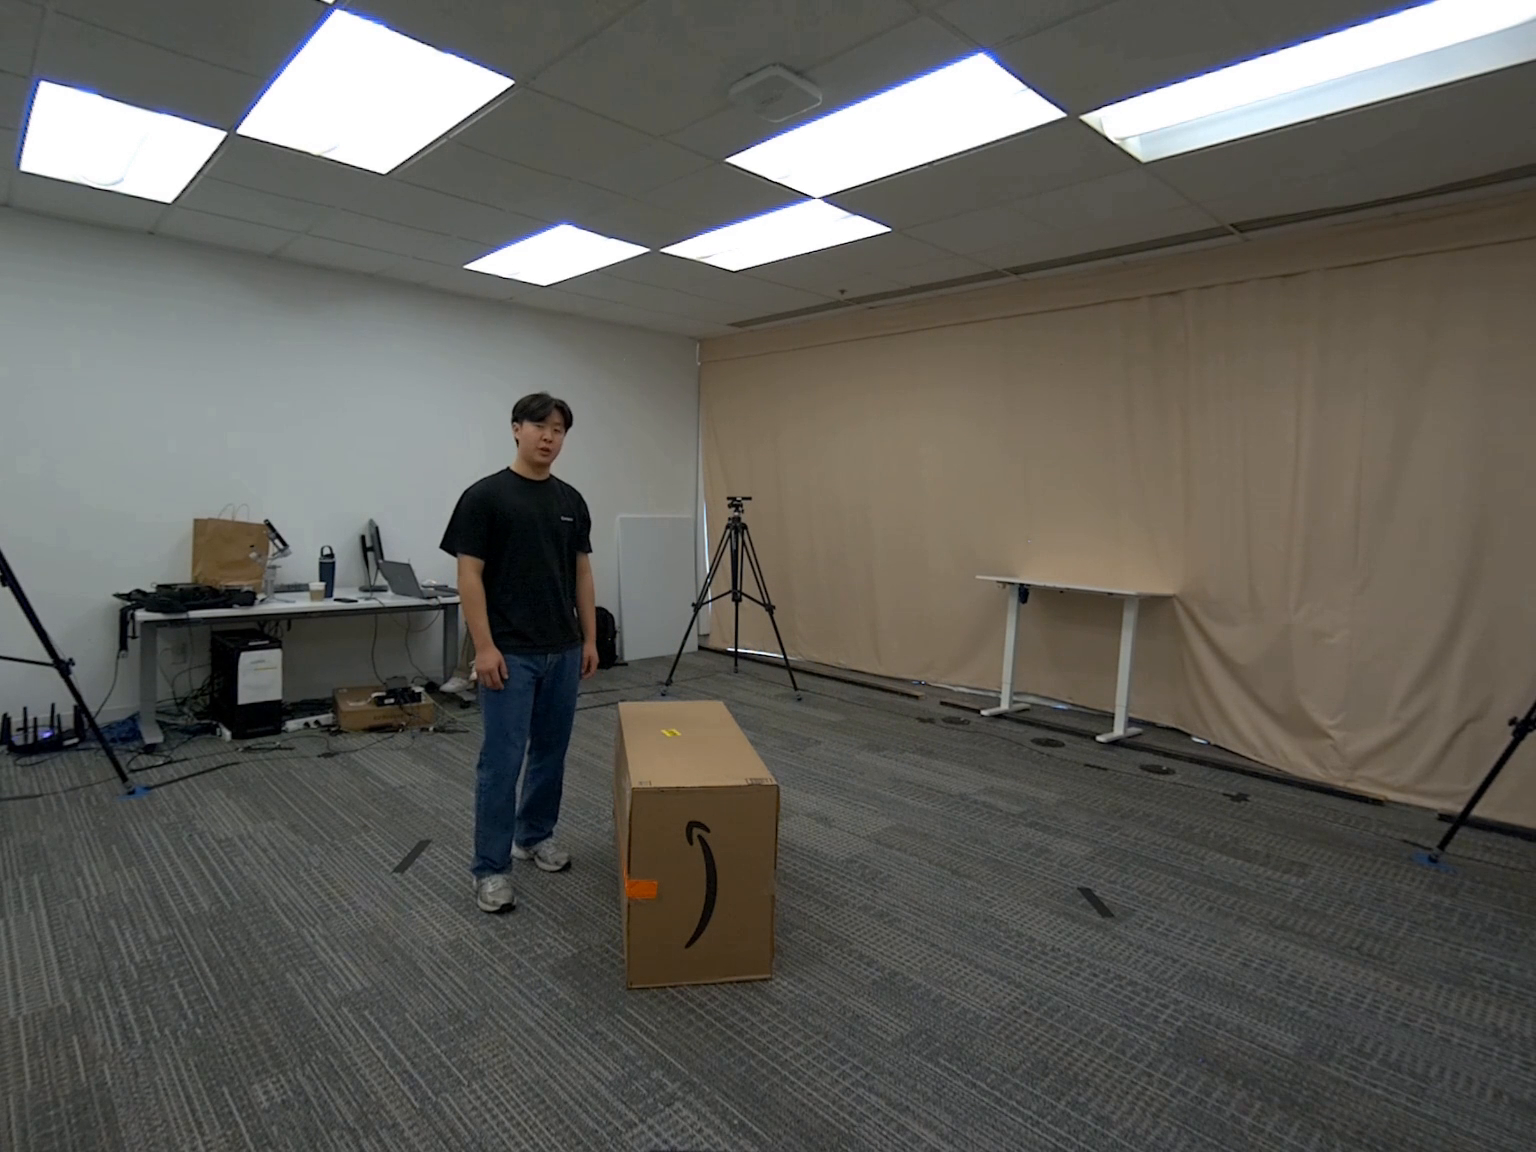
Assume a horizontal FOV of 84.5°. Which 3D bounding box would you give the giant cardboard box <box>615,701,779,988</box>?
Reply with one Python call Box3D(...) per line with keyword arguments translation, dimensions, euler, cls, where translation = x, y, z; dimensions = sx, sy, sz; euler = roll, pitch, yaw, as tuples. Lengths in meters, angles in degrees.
Box3D(translation=(-0.295, 0.836, 2.891), dimensions=(0.443, 0.582, 1.039), euler=(0, 4, -12), cls="giant cardboard box")
